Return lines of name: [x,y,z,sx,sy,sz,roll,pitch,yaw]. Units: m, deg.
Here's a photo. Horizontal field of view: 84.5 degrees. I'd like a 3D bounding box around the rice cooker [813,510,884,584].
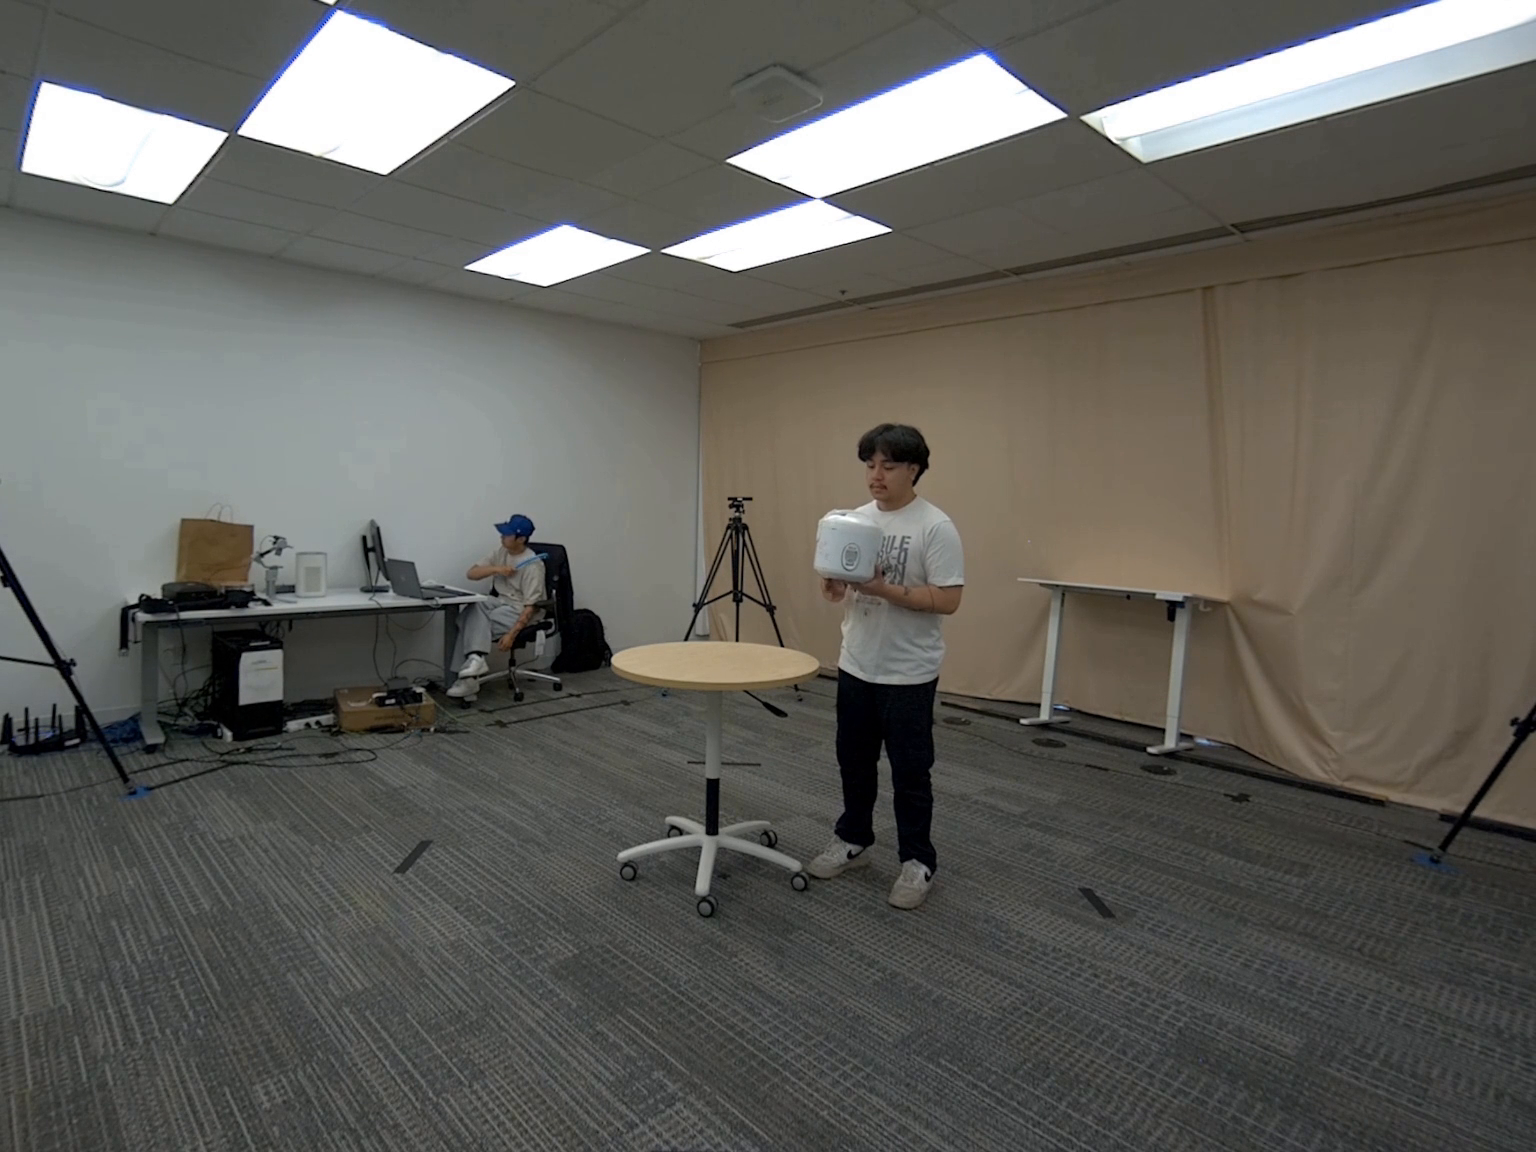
rice cooker: [0.262,-0.101,2.795,0.220,0.232,0.218,8,2,-1]
